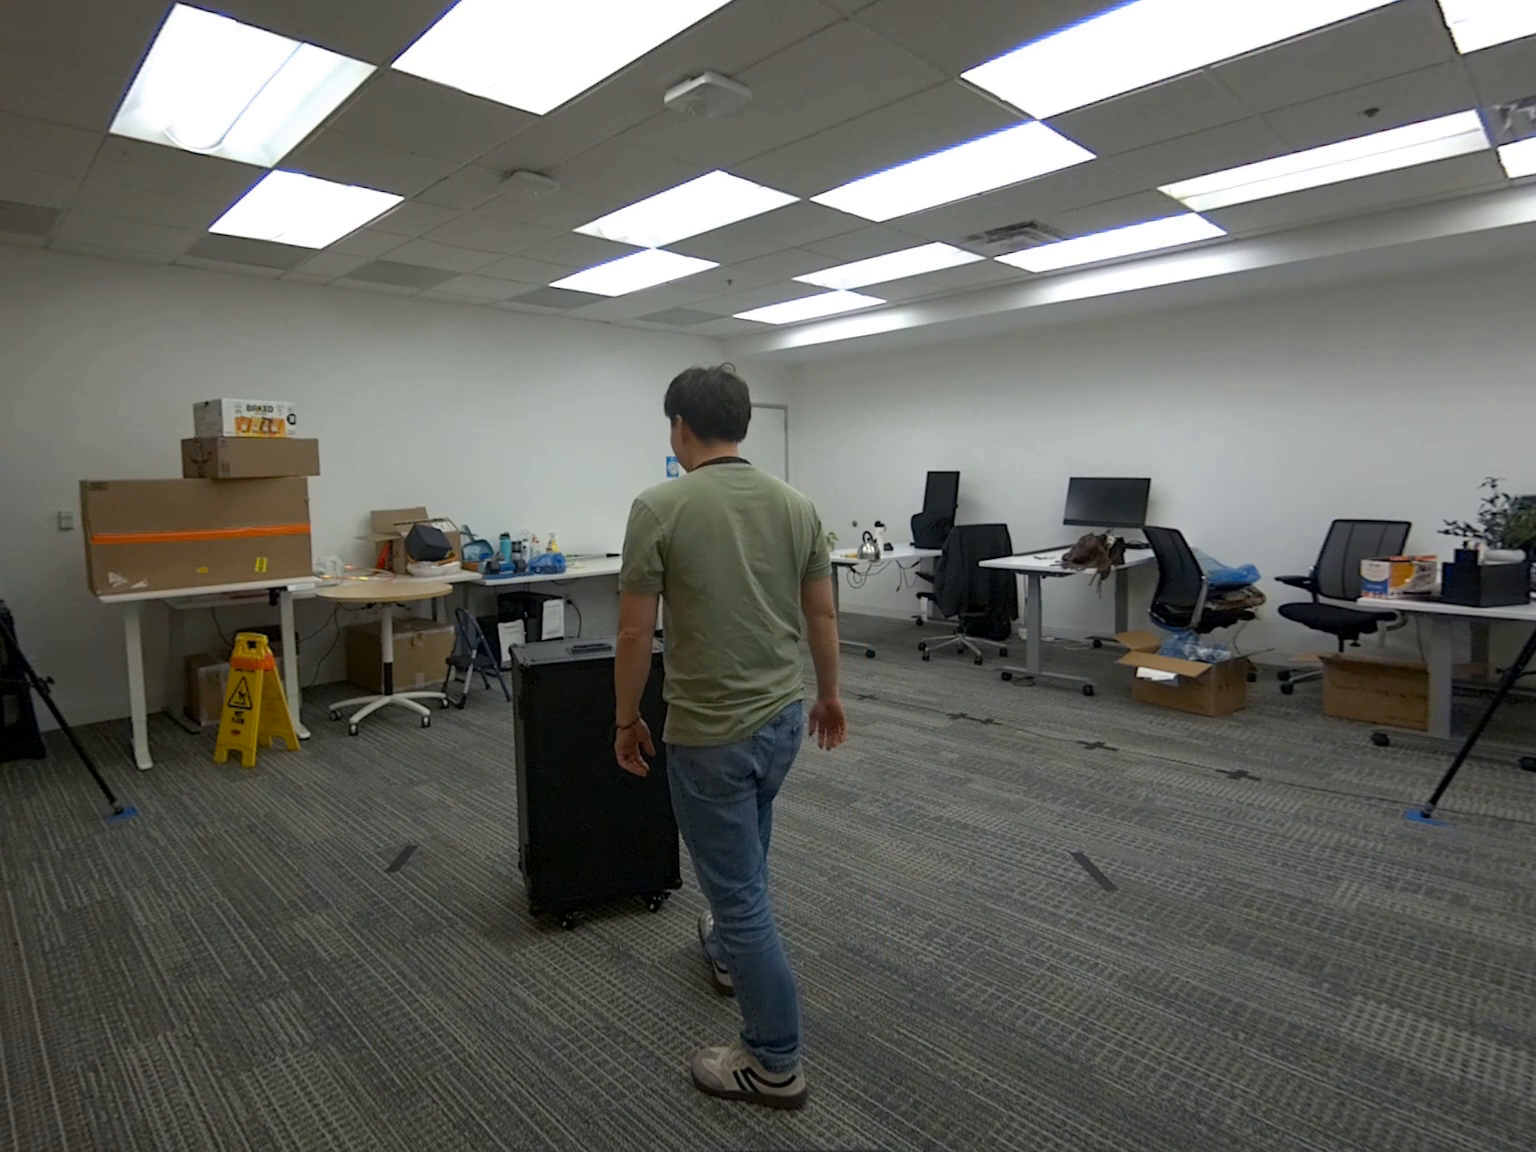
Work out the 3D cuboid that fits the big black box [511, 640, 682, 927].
[{"bbox_3d":[-0.587,0.656,2.844,0.512,0.858,0.404,-4,4,-20],"label":"big black box"}]
